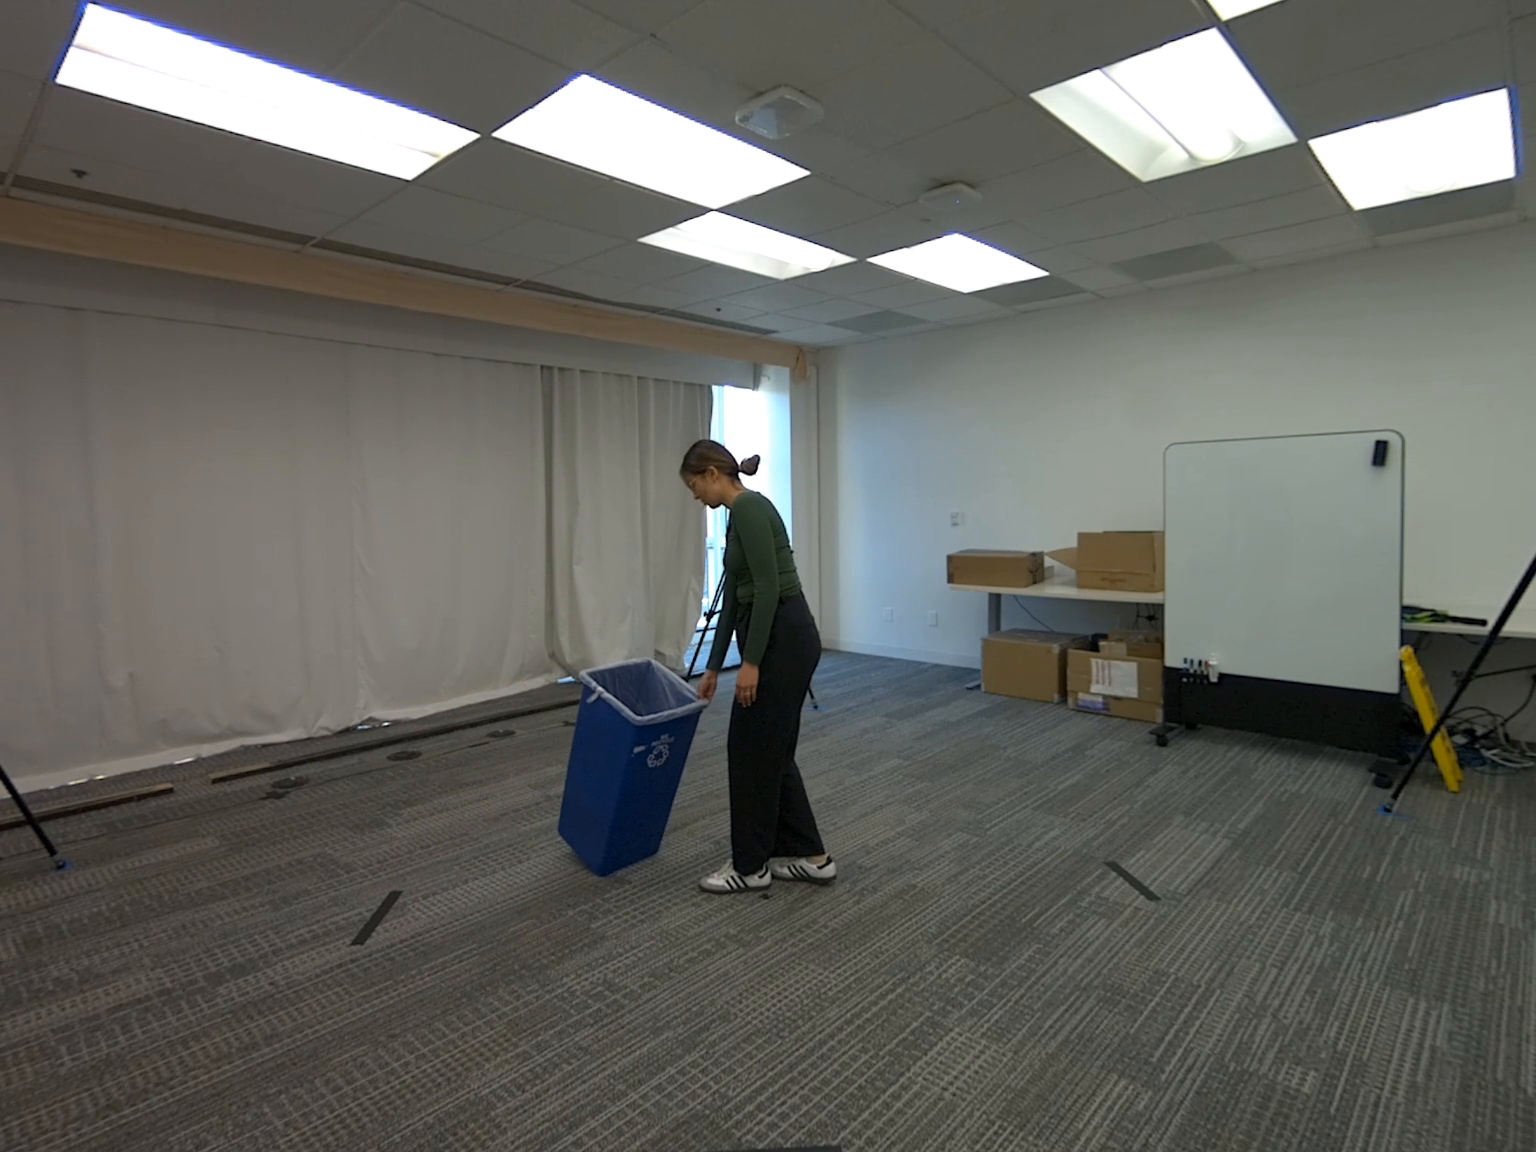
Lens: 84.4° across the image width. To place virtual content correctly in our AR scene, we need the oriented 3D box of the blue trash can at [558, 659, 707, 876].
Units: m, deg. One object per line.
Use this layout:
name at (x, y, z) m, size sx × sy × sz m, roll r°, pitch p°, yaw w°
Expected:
blue trash can at (-0.559, 0.737, 3.259) m, size 0.388 × 0.709 × 0.366 m, roll 30°, pitch 23°, yaw 37°
